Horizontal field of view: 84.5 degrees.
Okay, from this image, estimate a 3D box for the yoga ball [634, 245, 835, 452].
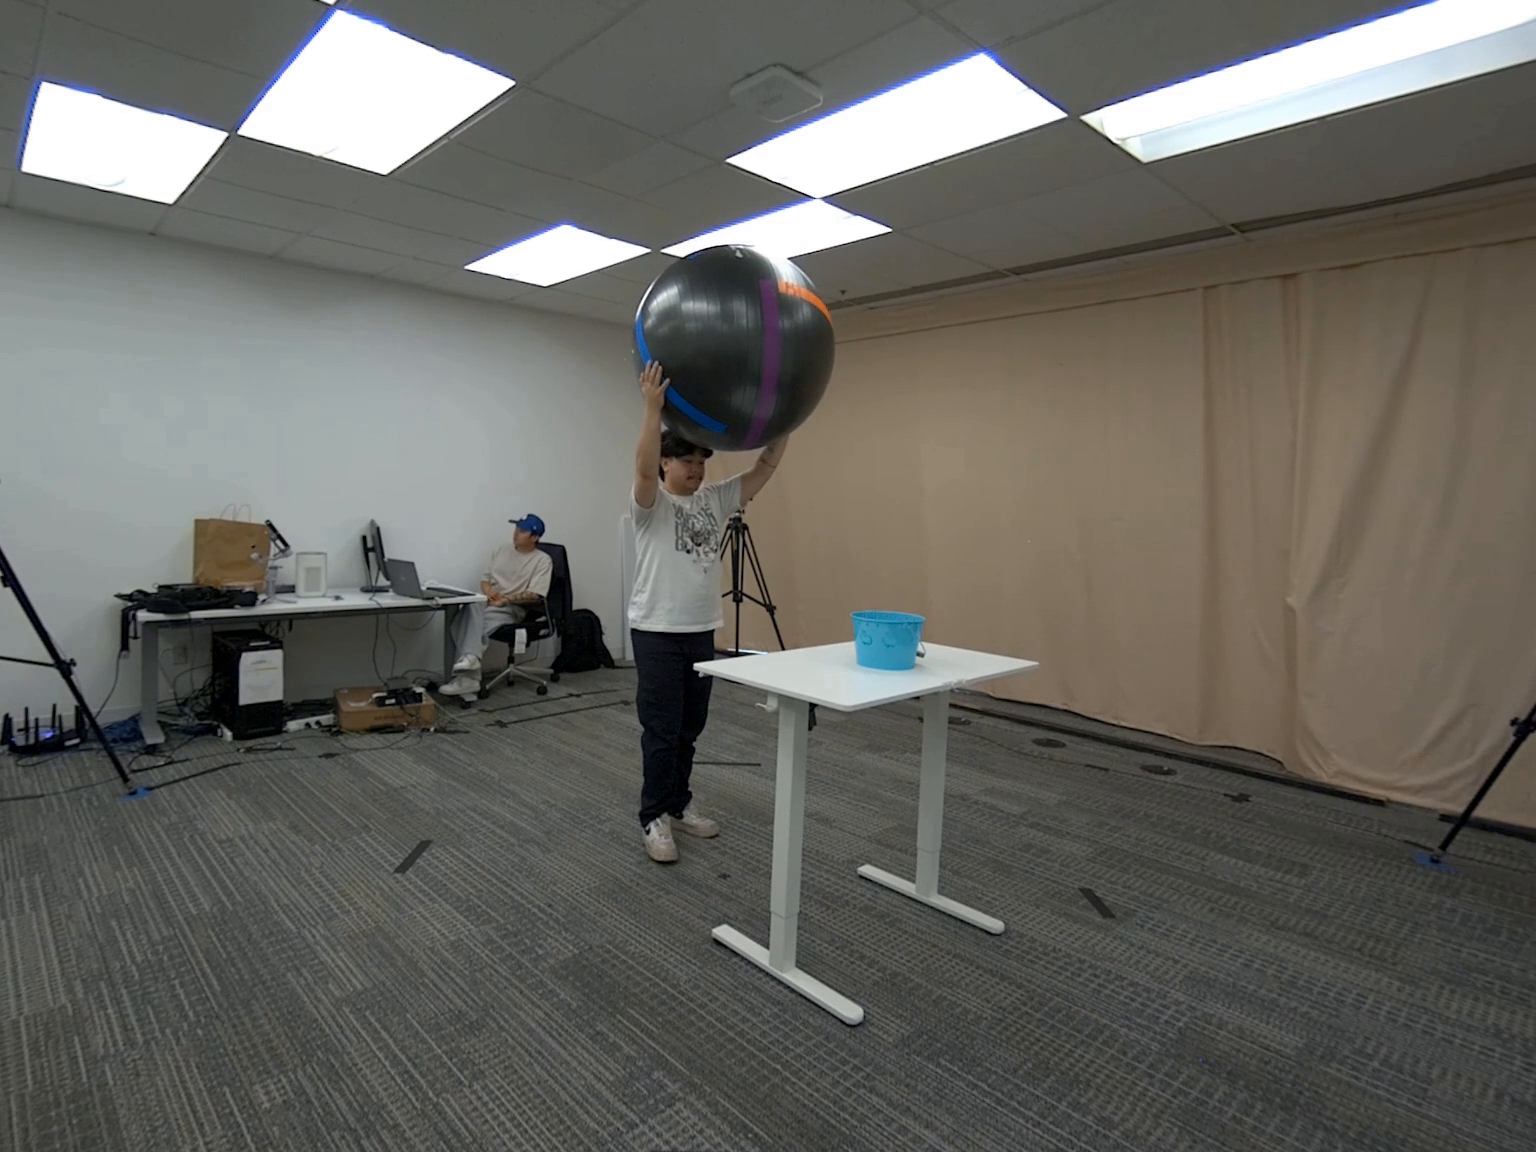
[{"bbox_3d":[-0.138,-0.845,3.150,0.757,0.756,0.761,1,4,-1],"label":"yoga ball"}]
